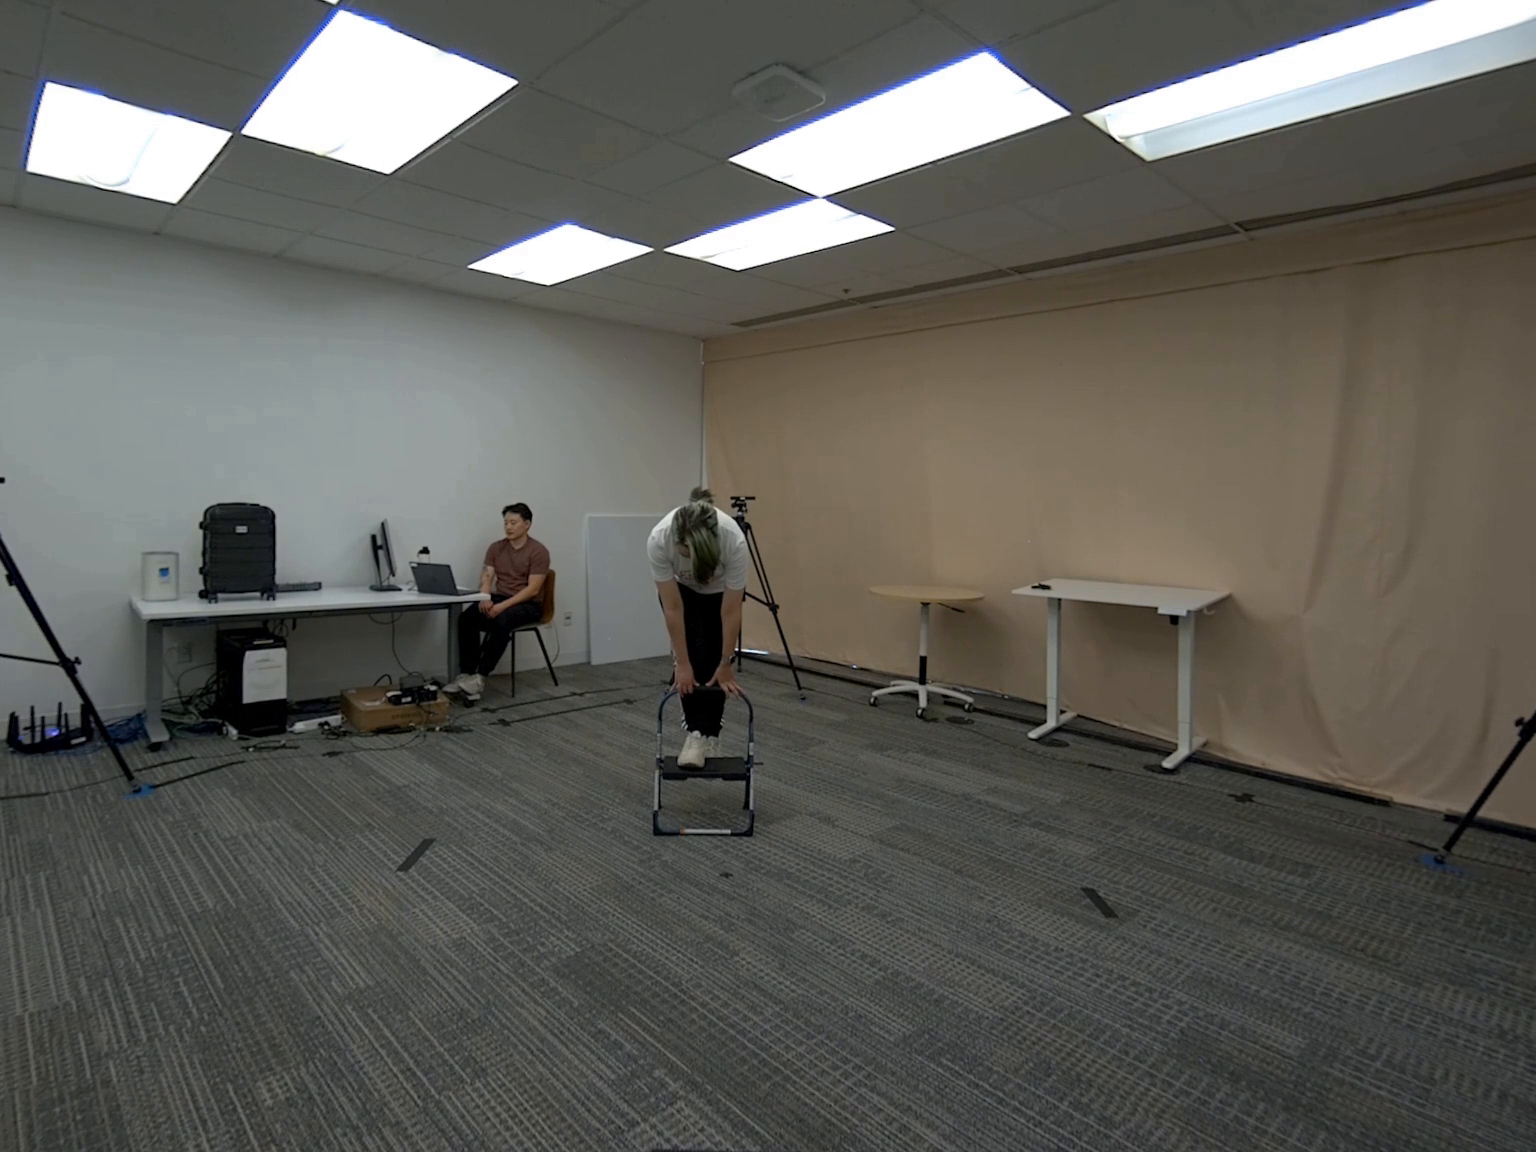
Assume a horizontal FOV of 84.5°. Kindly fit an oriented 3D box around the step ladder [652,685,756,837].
[{"bbox_3d":[-0.280,0.759,3.616,0.429,0.605,0.351,2,3,-4],"label":"step ladder"}]
